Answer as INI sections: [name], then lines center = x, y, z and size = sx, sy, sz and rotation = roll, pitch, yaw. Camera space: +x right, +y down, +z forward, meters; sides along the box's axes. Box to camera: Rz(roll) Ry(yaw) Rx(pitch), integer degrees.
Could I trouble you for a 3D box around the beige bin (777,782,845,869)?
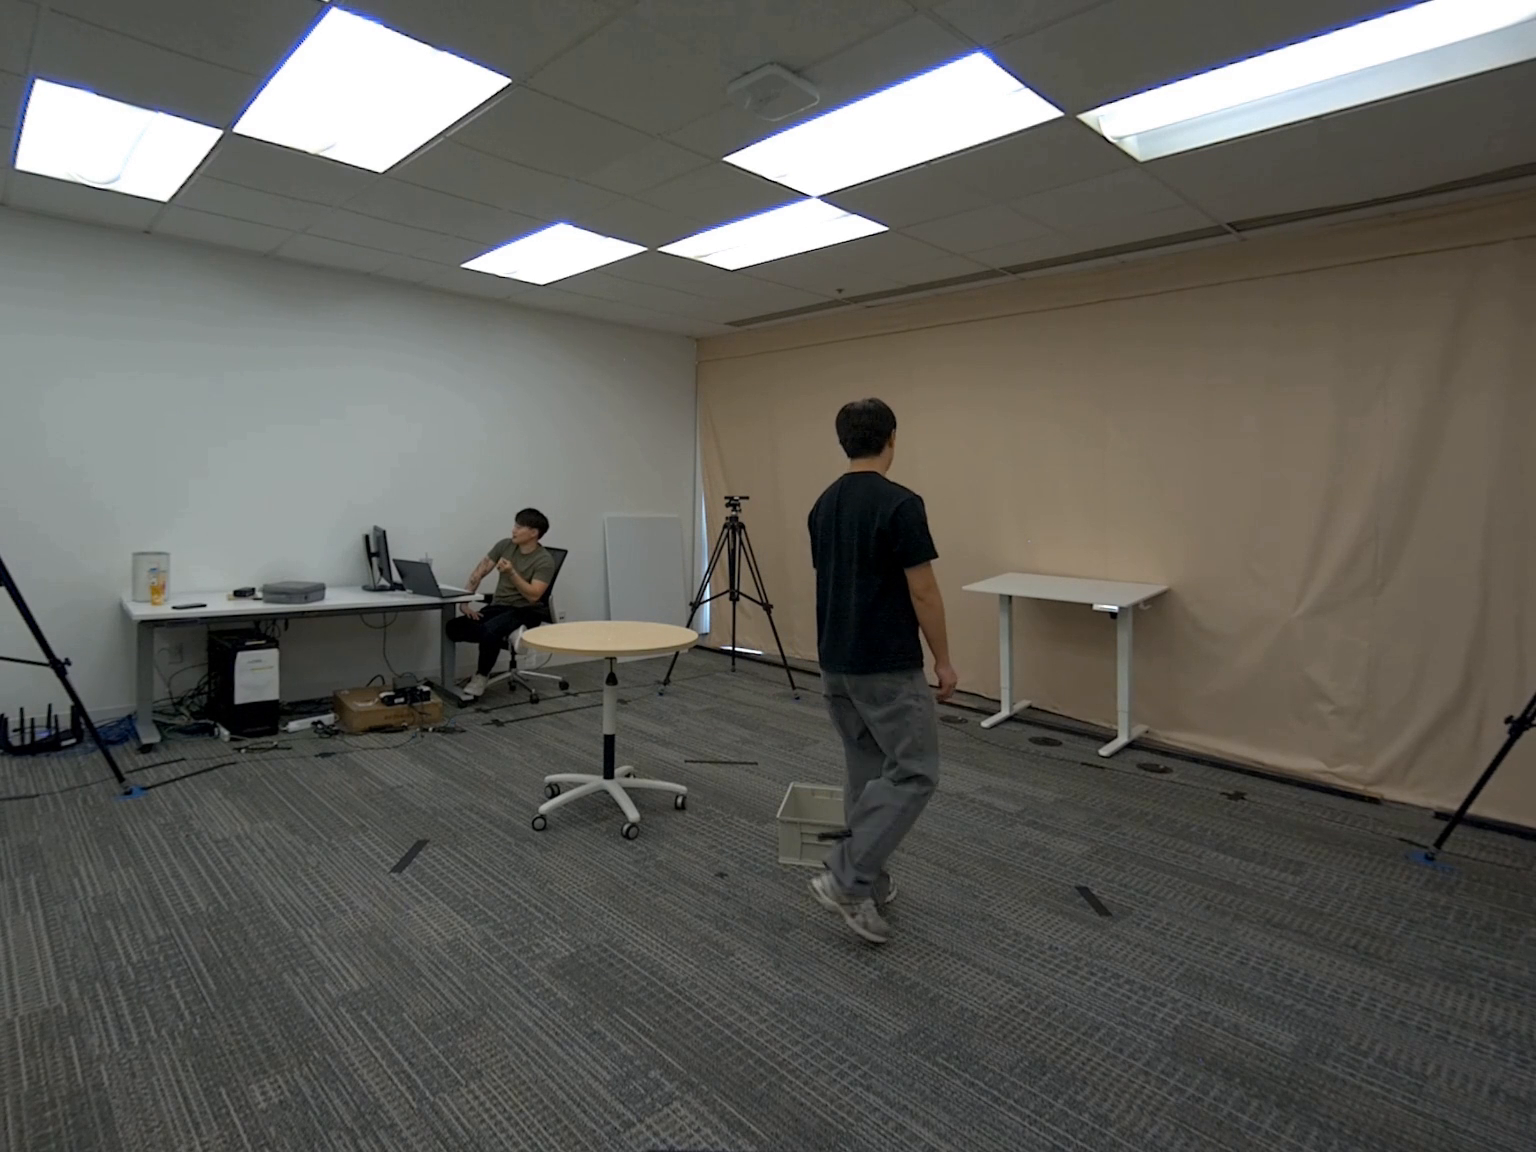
[beige bin]
center = 0.241, 1.003, 3.380
size = 0.381, 0.188, 0.420
rotation = 1, 5, 10
